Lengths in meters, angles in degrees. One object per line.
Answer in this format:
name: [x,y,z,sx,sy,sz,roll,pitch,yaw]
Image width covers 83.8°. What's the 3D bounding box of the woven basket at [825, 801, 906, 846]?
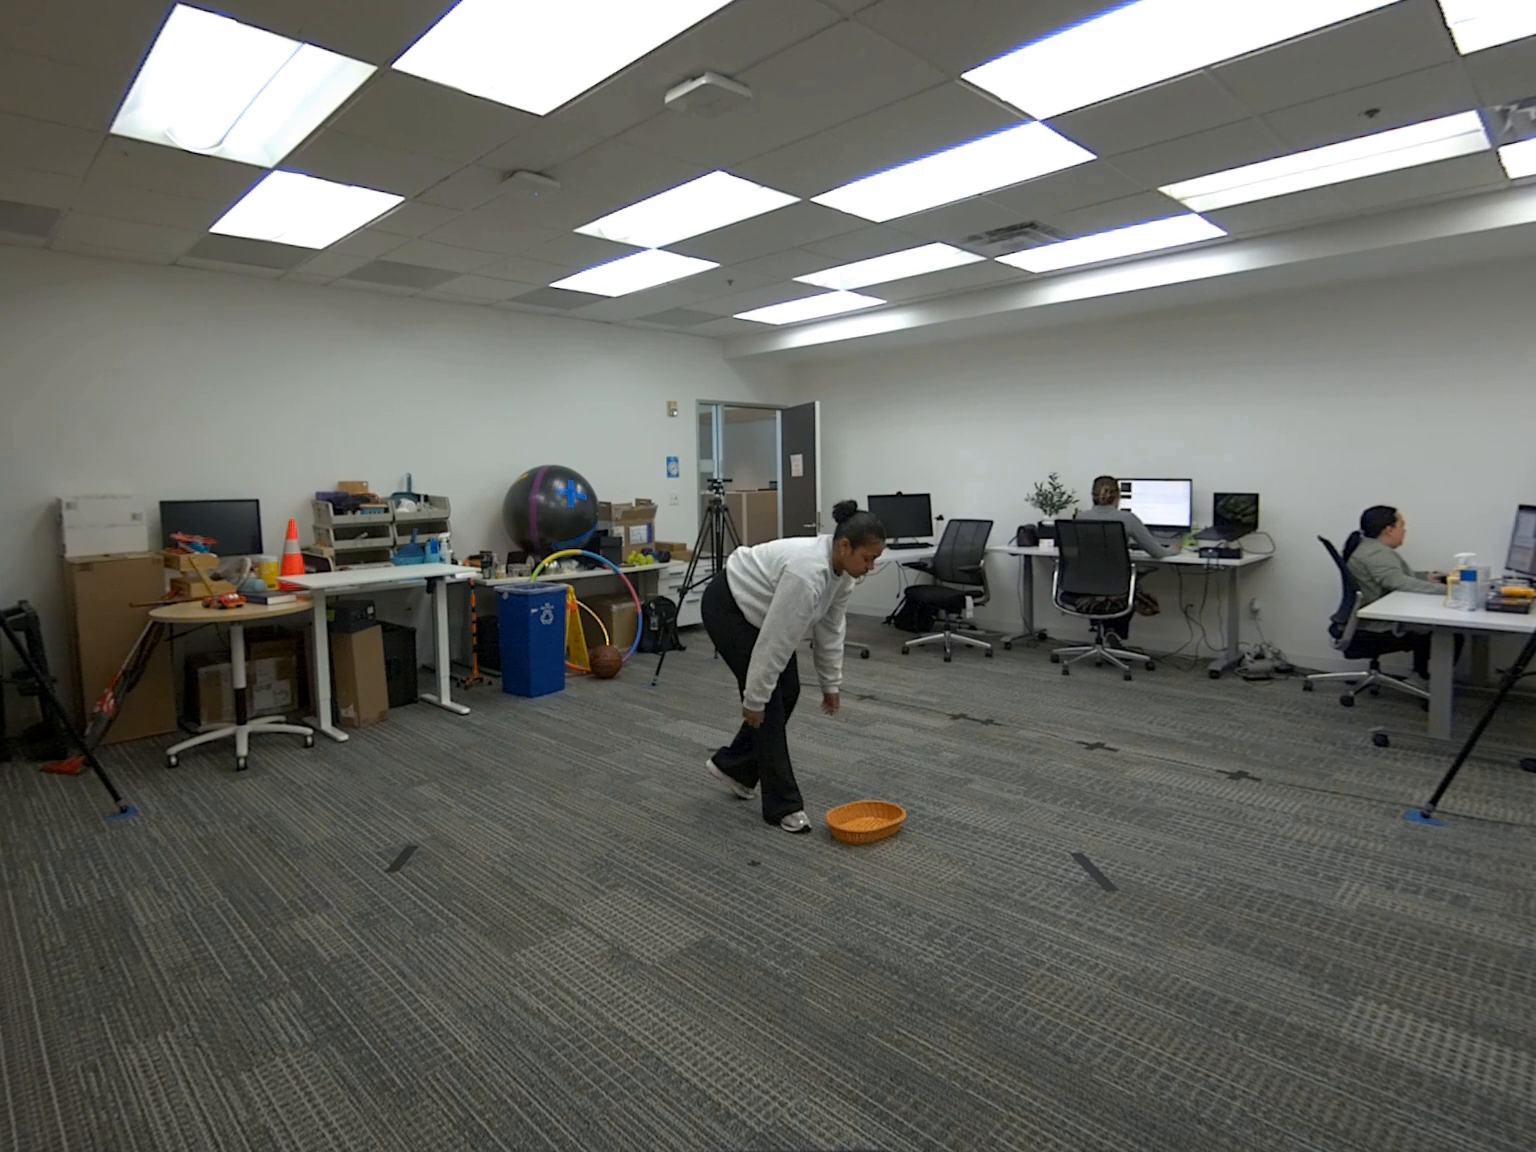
woven basket: [0.387,0.971,3.362,0.342,0.073,0.260,-6,8,-33]
